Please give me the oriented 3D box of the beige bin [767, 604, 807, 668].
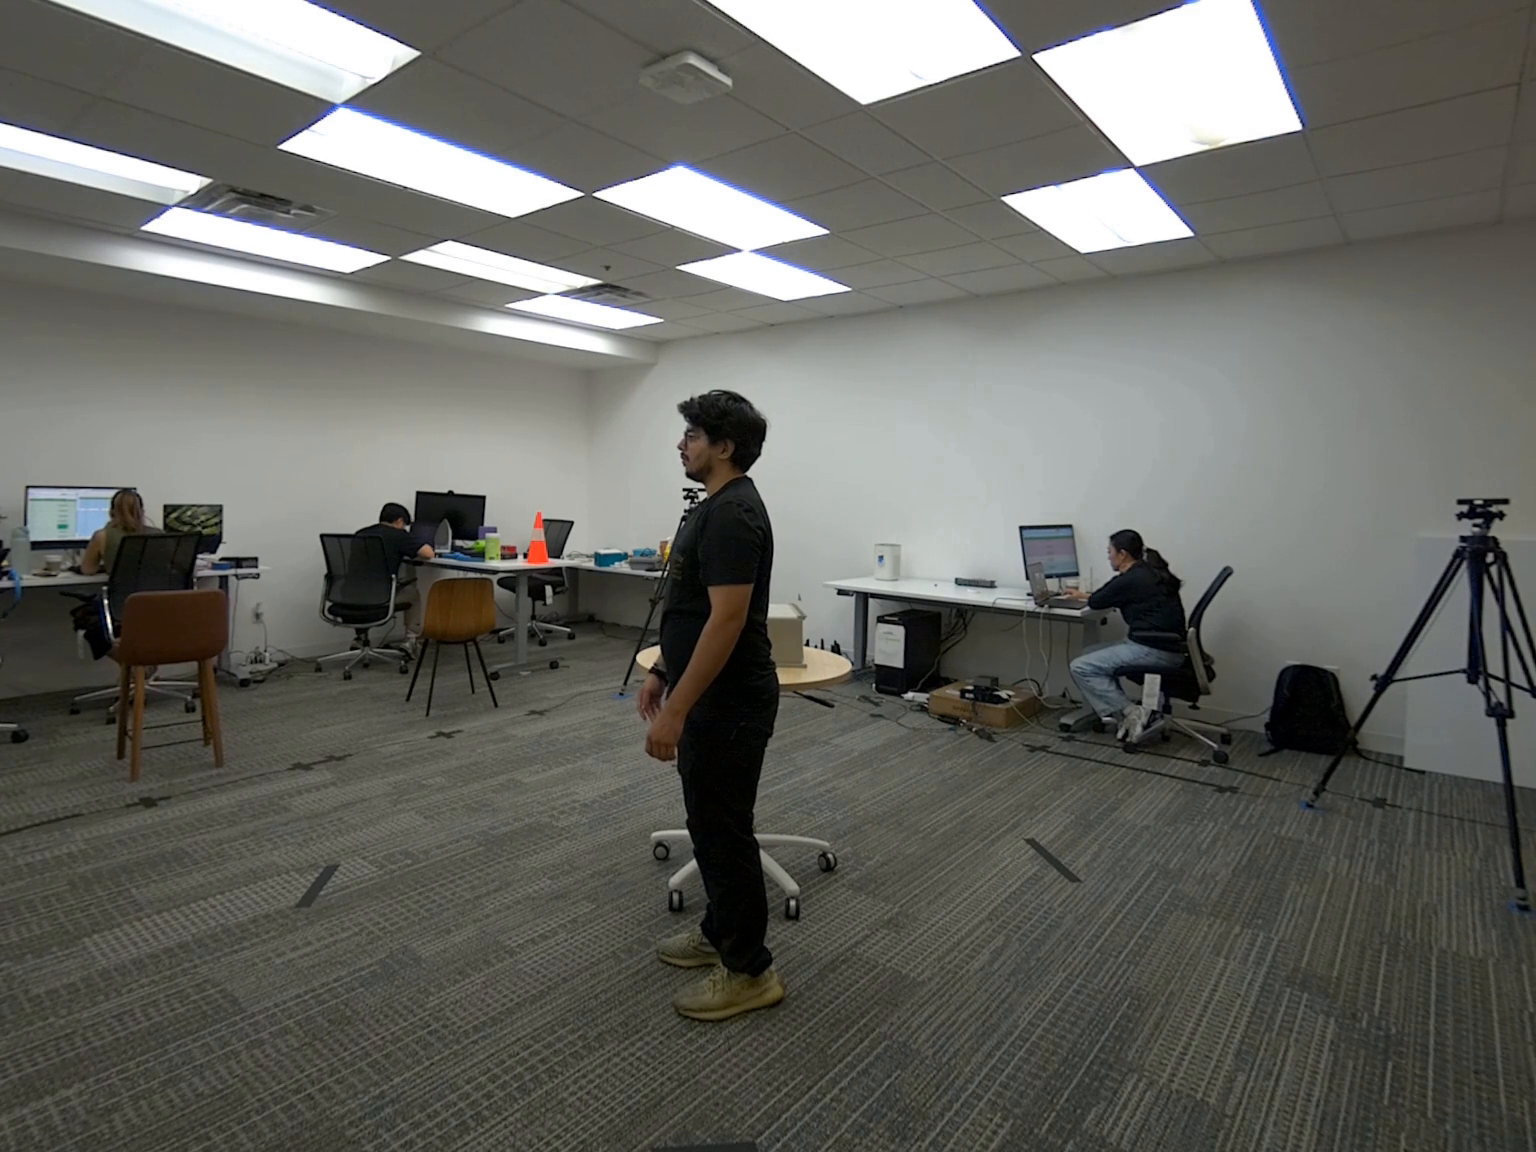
[{"bbox_3d":[-0.092,0.194,3.103,0.421,0.188,0.379,1,5,-3],"label":"beige bin"}]
